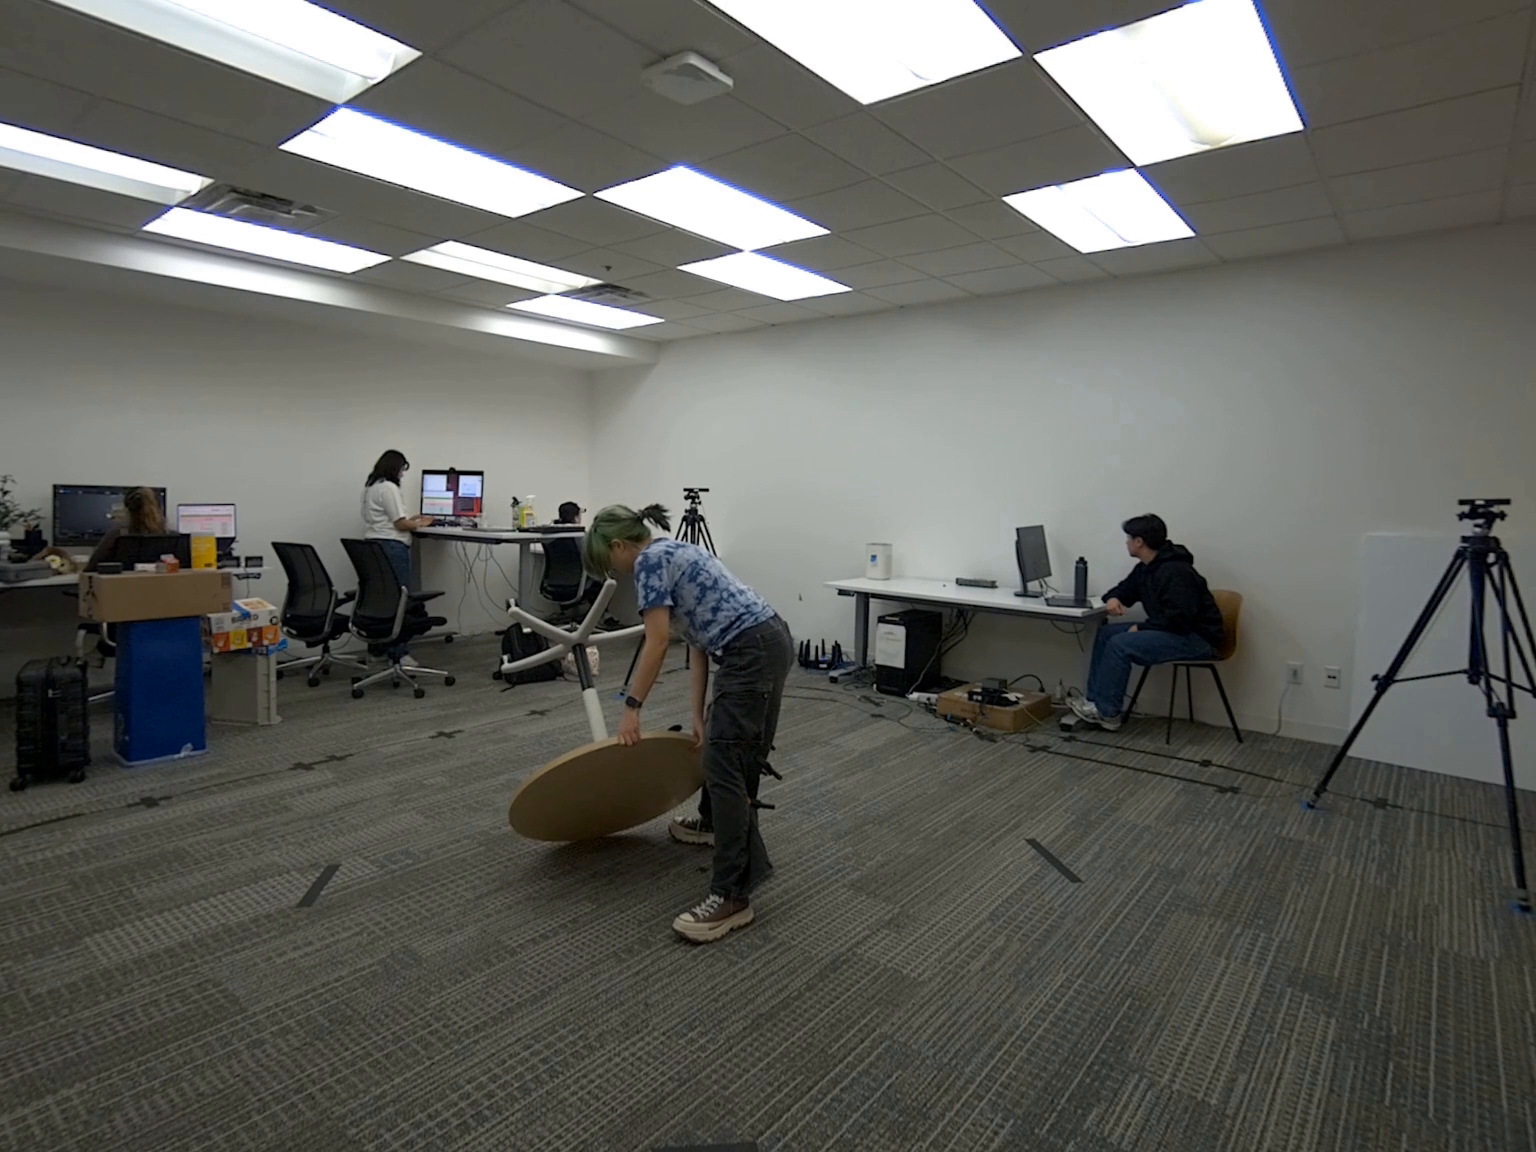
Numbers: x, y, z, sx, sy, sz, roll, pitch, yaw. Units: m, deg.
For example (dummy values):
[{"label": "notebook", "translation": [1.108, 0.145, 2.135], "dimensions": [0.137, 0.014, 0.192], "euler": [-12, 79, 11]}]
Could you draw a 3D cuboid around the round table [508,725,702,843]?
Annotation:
[{"label": "round table", "translation": [-0.721, 0.490, 3.357], "dimensions": [0.756, 0.824, 0.743], "euler": [-15, -36, -13]}]
